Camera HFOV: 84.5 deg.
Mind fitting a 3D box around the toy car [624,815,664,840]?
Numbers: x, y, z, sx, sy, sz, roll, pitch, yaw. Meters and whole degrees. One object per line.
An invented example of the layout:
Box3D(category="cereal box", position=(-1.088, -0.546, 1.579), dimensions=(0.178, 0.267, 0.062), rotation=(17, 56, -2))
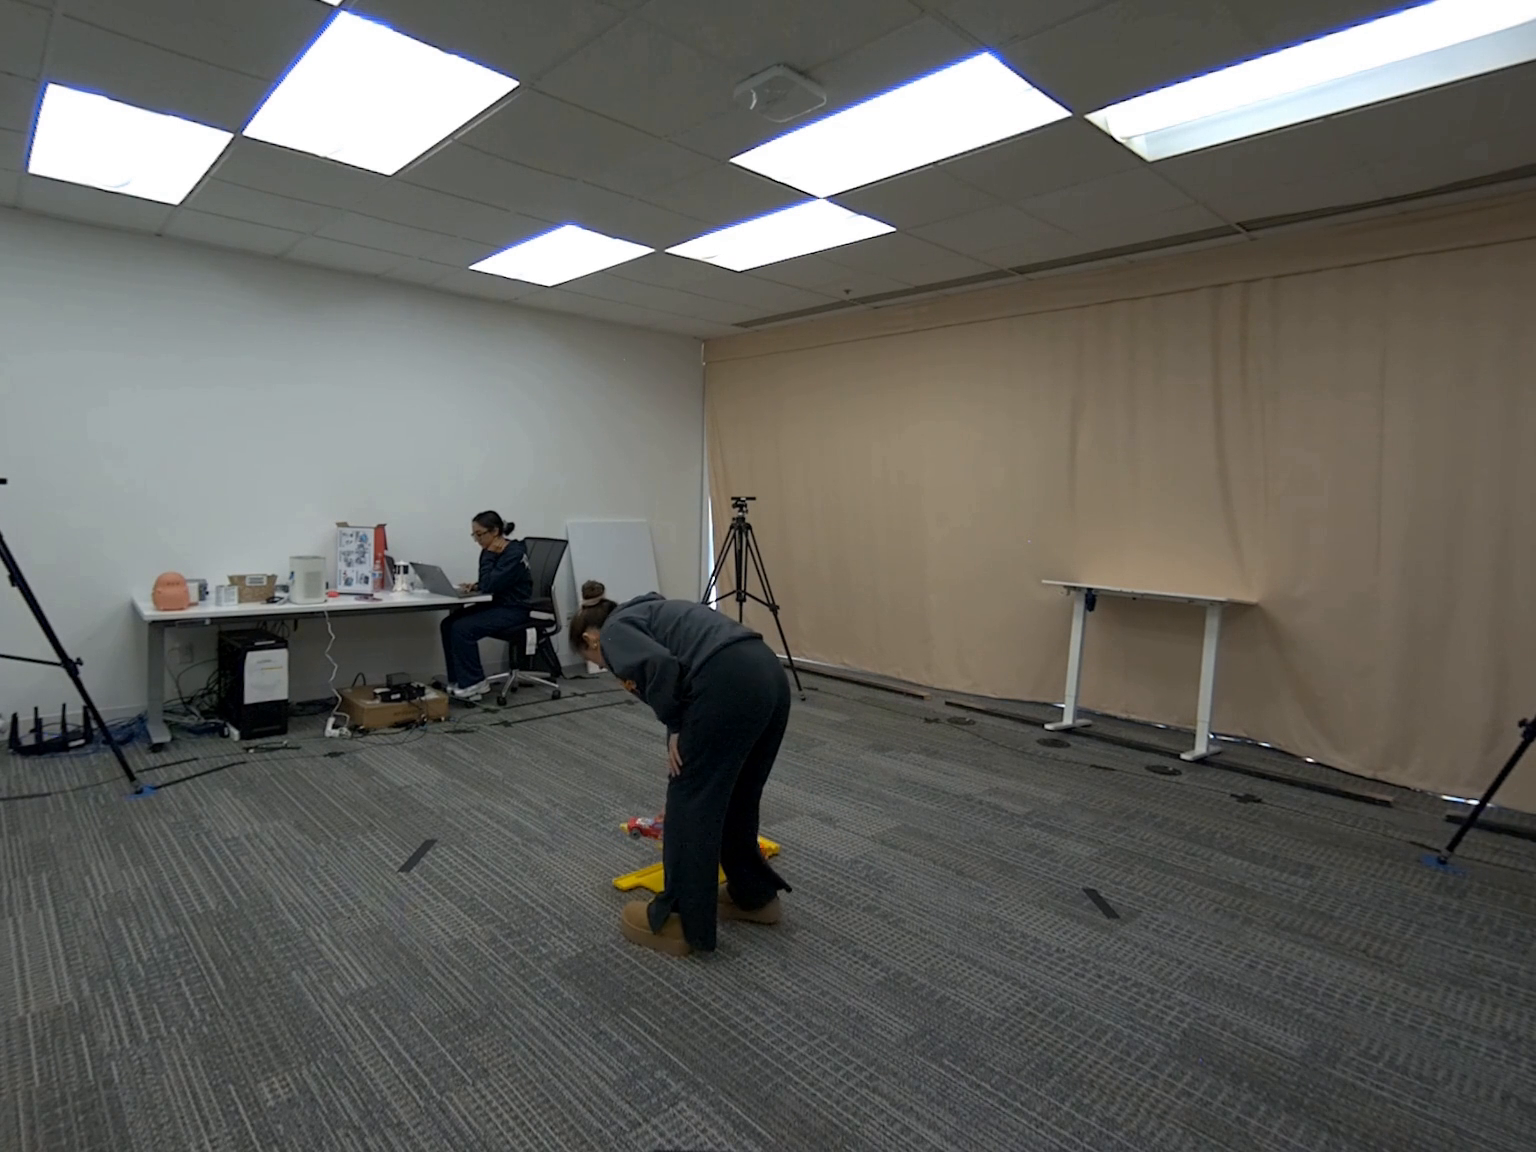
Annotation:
Box3D(category="toy car", position=(-0.368, 0.889, 2.924), dimensions=(0.254, 0.083, 0.130), rotation=(2, 2, -1))
